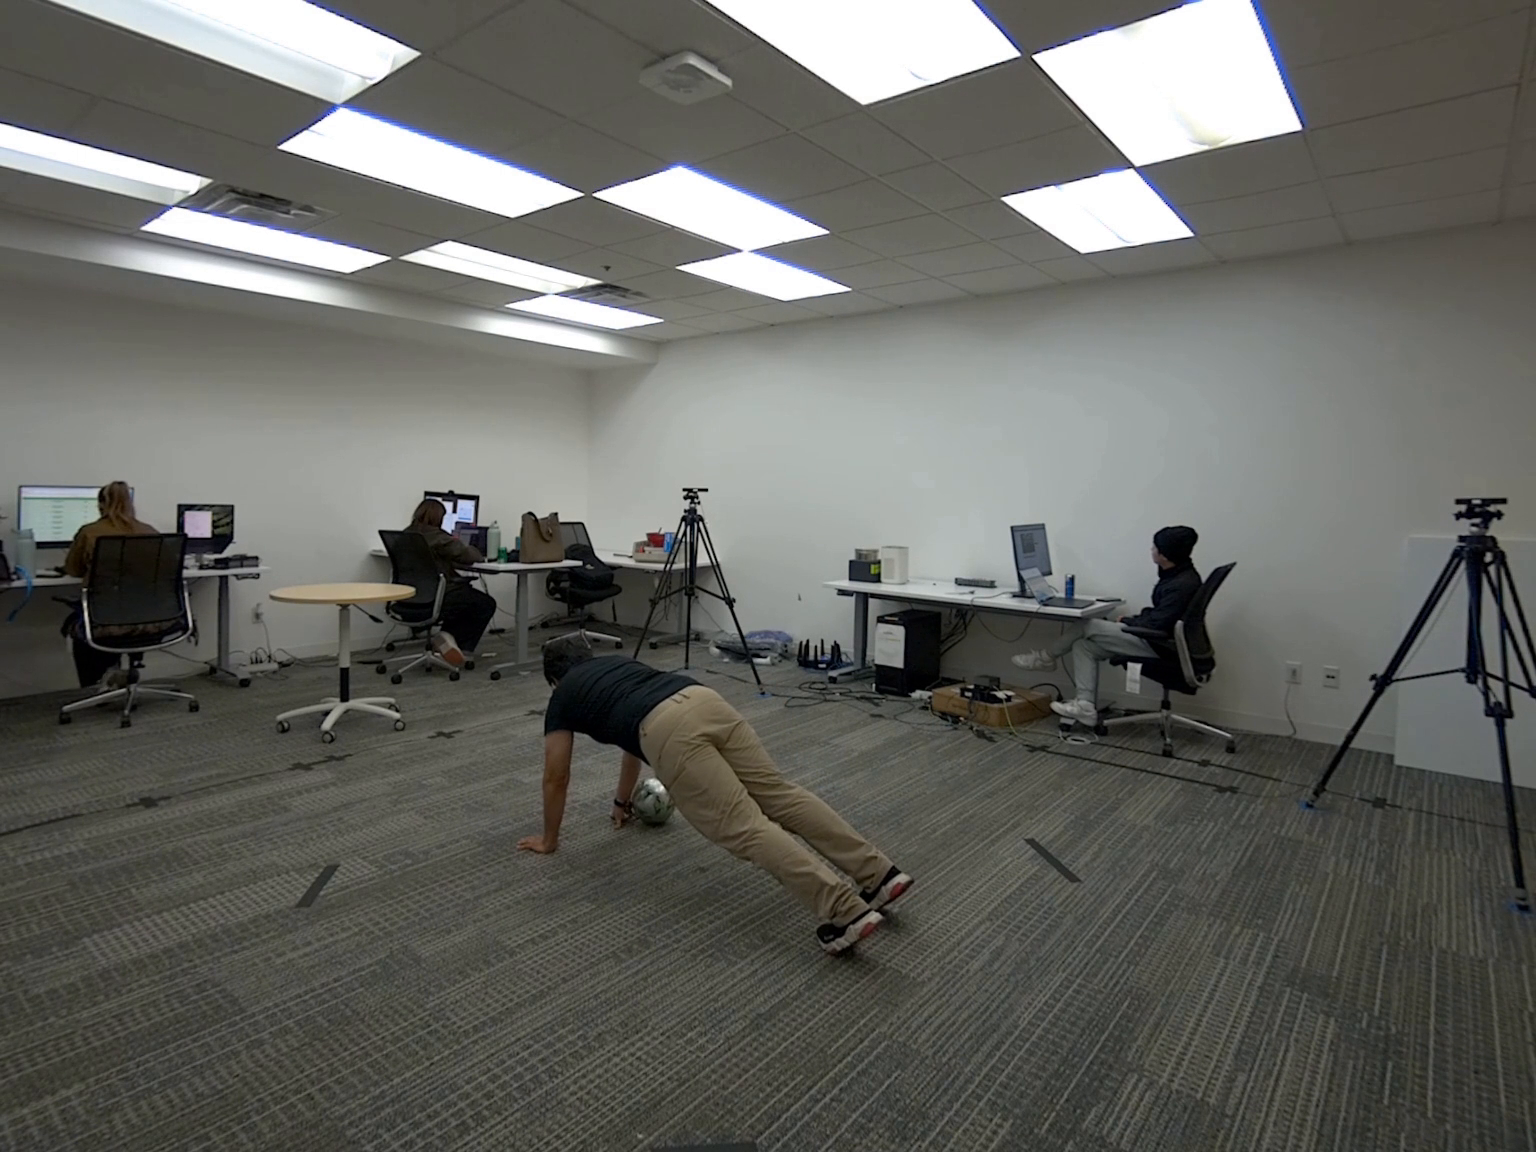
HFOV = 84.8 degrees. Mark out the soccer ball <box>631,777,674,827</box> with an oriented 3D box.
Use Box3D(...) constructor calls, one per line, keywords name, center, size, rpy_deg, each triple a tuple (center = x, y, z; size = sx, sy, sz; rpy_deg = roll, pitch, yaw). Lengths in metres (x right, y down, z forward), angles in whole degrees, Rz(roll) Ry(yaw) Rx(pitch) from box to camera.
Box3D(name="soccer ball", center=(-0.481, 0.929, 3.536), size=(0.187, 0.187, 0.188), rpy_deg=(1, 4, -2))
